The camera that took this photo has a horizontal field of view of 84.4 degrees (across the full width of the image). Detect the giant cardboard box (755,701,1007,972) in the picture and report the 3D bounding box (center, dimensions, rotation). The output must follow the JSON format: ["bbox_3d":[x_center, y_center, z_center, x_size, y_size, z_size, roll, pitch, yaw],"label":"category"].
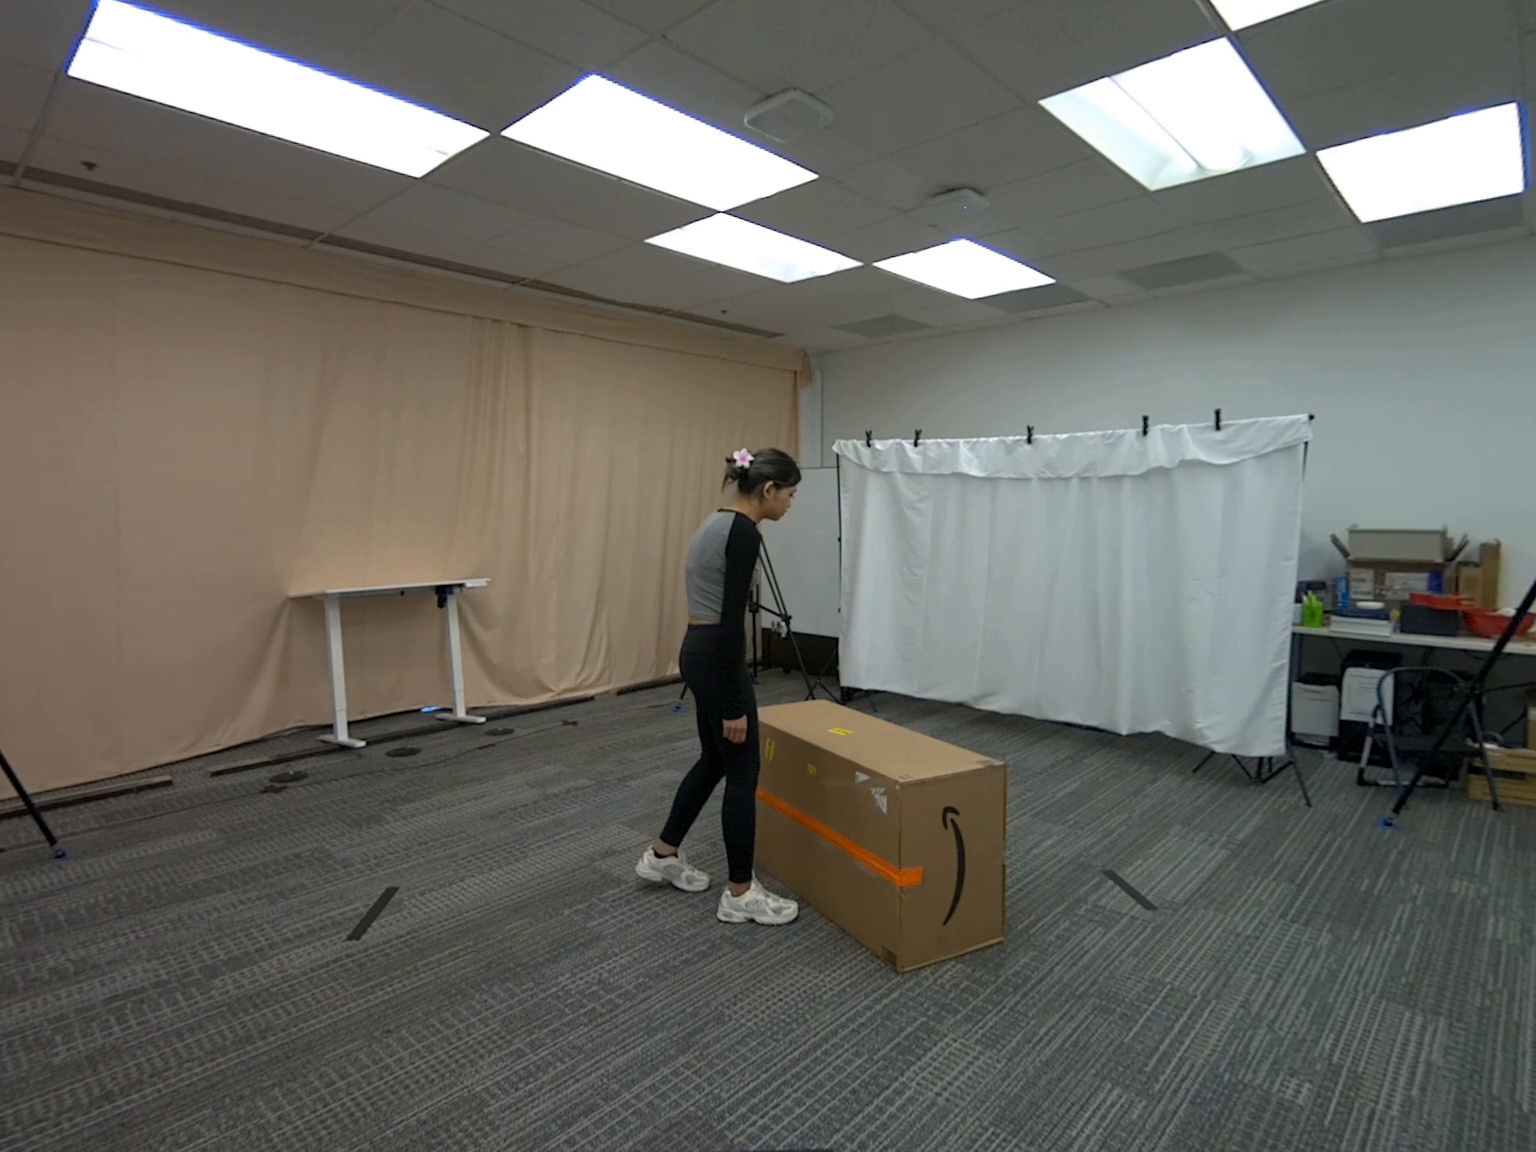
[{"bbox_3d":[0.318,0.850,3.033,0.415,0.576,1.055,-2,4,-29],"label":"giant cardboard box"}]
